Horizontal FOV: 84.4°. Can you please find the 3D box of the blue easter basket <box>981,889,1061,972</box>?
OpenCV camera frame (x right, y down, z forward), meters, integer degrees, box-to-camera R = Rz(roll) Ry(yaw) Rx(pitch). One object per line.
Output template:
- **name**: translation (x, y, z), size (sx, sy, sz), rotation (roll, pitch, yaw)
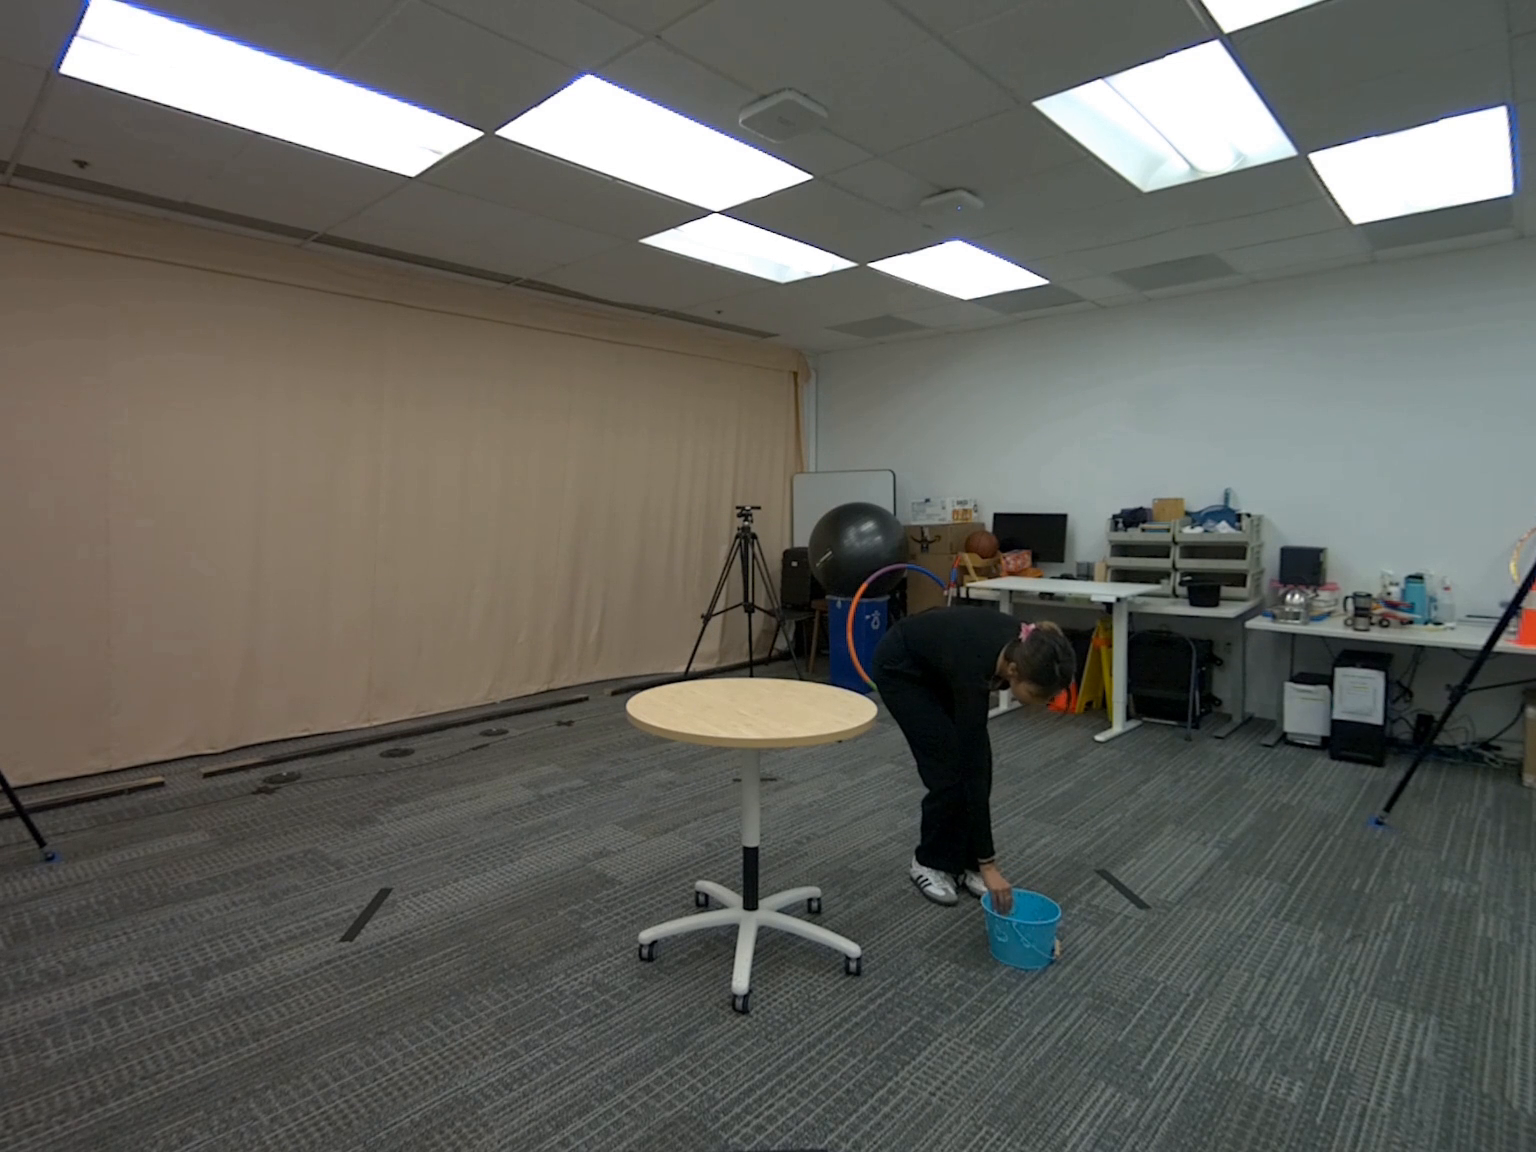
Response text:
- **blue easter basket**: translation (0.783, 1.087, 2.608), size (0.243, 0.155, 0.244), rotation (1, 5, -2)
